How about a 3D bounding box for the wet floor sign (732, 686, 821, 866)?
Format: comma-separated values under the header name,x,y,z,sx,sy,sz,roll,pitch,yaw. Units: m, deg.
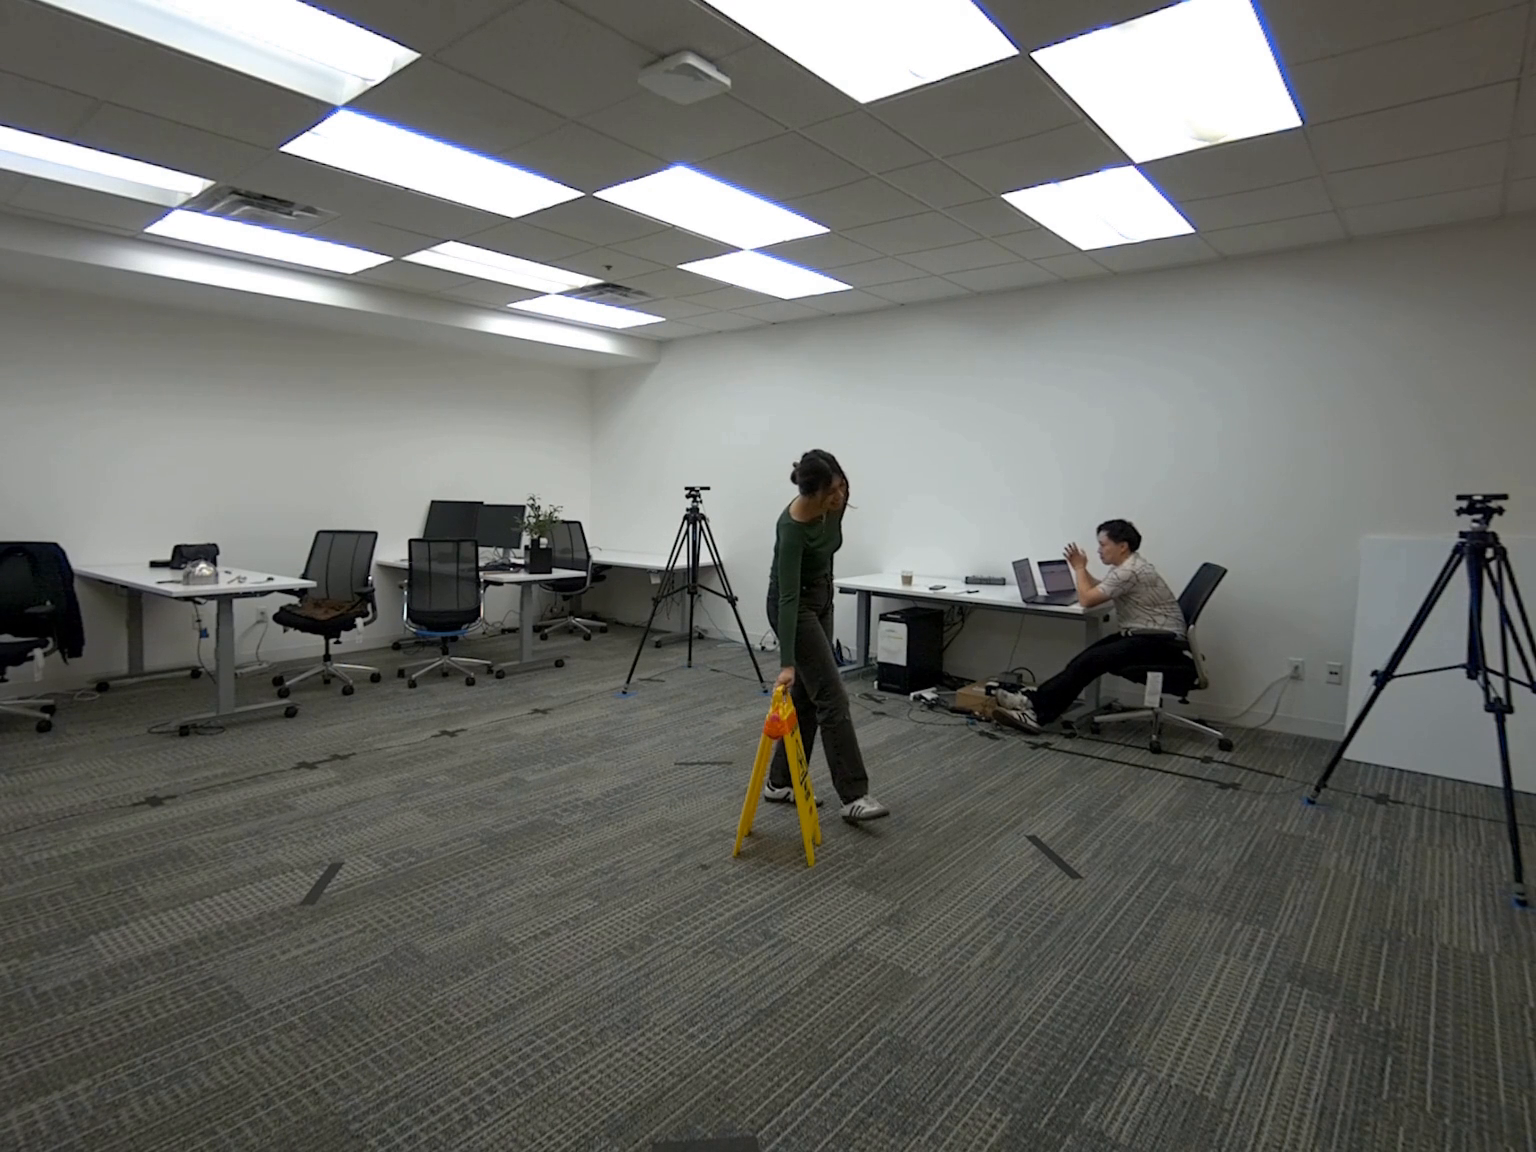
name,x,y,z,sx,sy,sz,roll,pitch,yaw
wet floor sign,0.033,0.729,3.283,0.294,0.645,0.278,1,1,13
